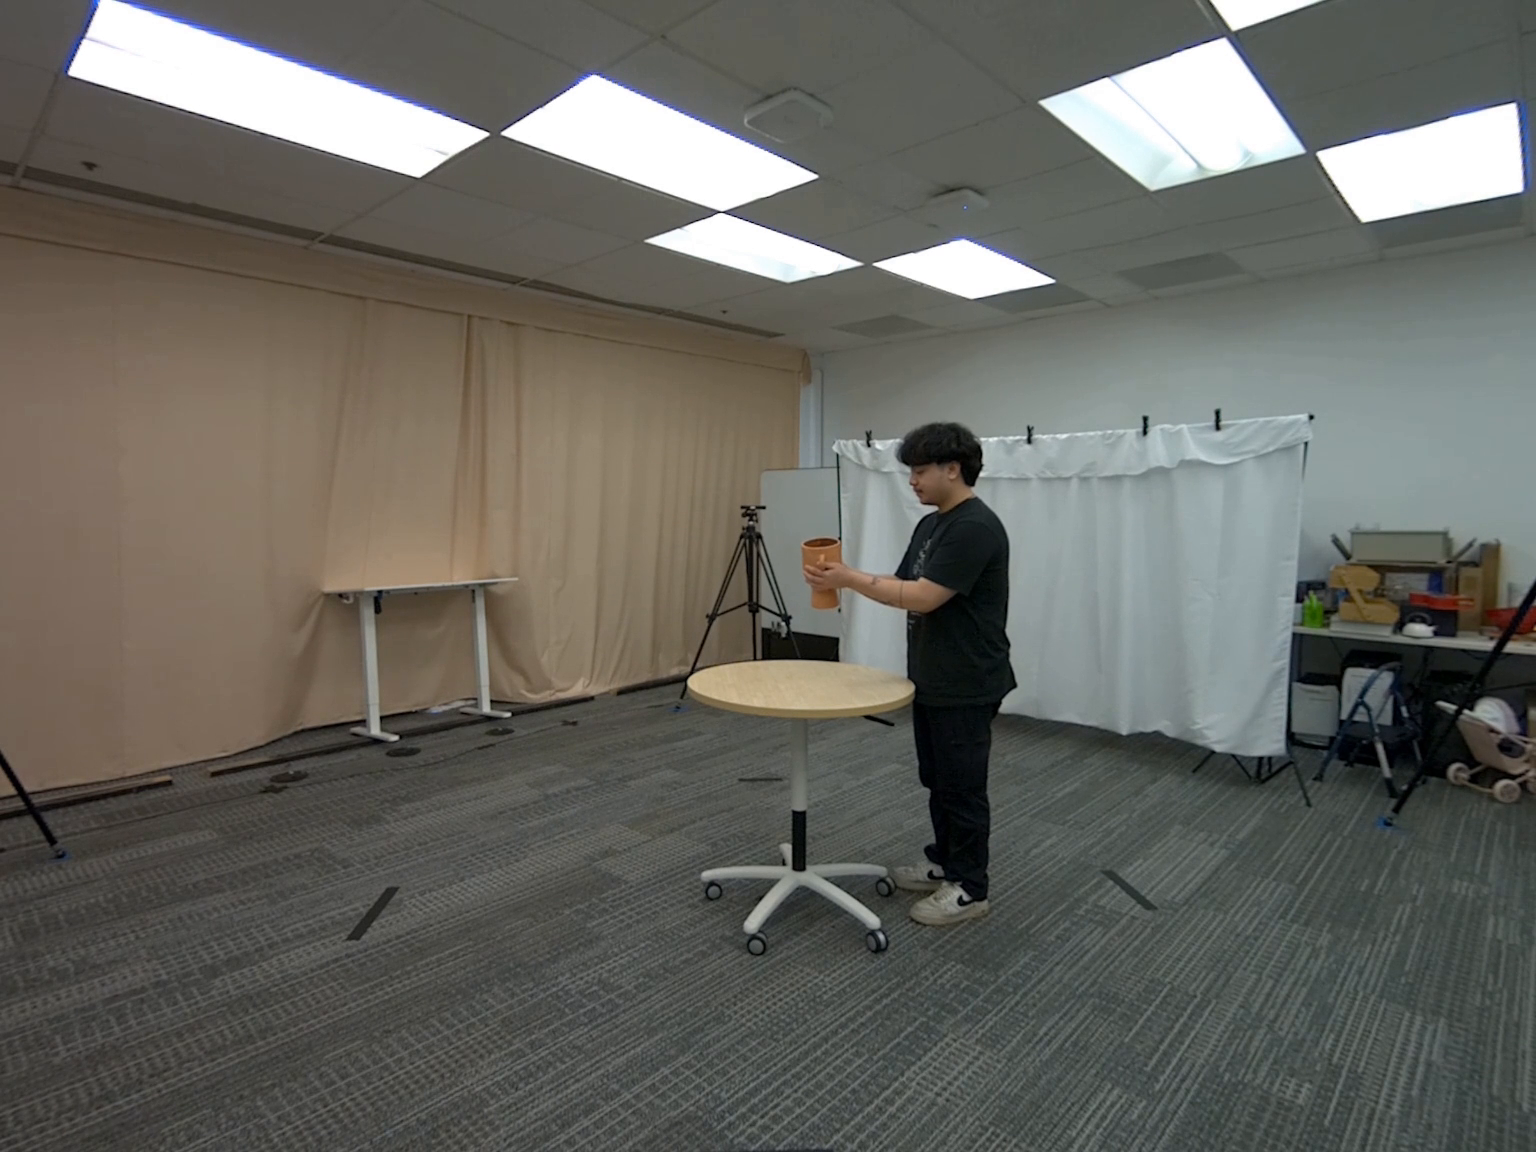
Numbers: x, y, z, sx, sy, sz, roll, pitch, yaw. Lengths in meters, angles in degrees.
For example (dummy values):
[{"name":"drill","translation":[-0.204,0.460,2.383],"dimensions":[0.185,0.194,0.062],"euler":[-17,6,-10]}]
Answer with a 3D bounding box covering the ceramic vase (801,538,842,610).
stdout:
[{"name":"ceramic vase","translation":[0.199,-0.004,2.851],"dimensions":[0.139,0.217,0.155],"euler":[9,21,43]}]
